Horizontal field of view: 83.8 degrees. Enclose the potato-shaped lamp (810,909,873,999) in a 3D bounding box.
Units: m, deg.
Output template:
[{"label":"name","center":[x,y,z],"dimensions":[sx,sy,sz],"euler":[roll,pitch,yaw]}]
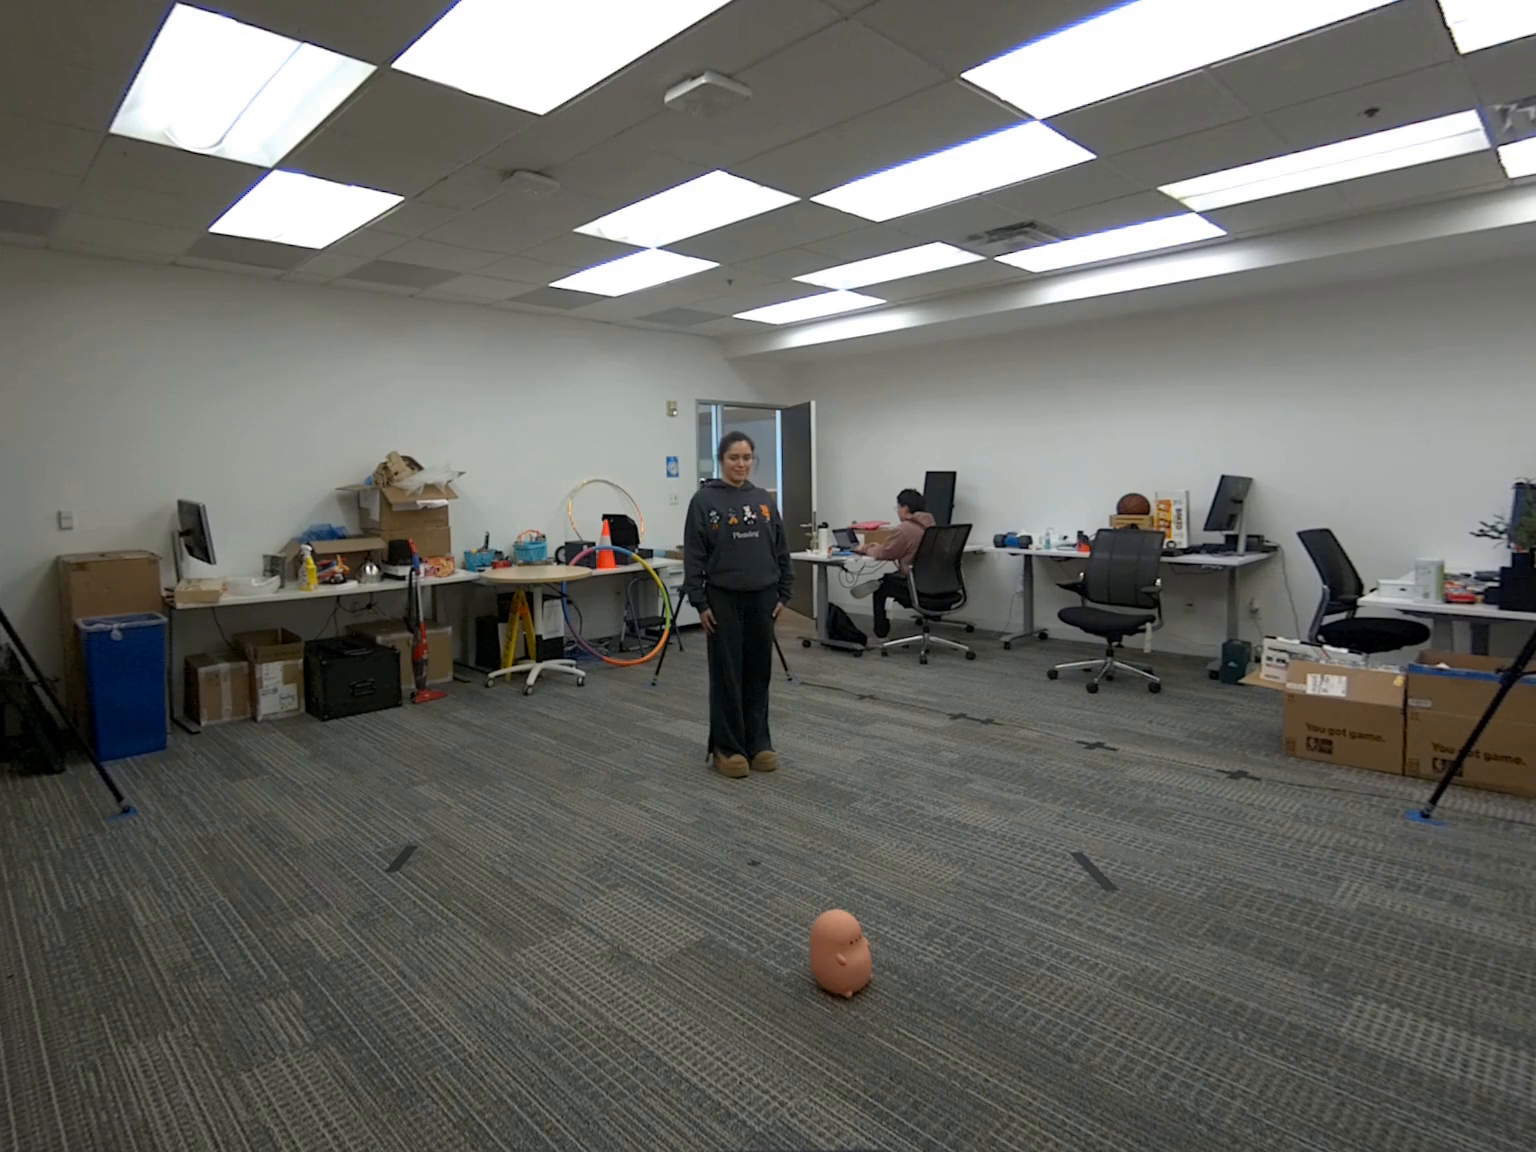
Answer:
[{"label":"potato-shaped lamp","center":[0.207,1.033,2.345],"dimensions":[0.160,0.197,0.176],"euler":[-7,7,-41]}]
